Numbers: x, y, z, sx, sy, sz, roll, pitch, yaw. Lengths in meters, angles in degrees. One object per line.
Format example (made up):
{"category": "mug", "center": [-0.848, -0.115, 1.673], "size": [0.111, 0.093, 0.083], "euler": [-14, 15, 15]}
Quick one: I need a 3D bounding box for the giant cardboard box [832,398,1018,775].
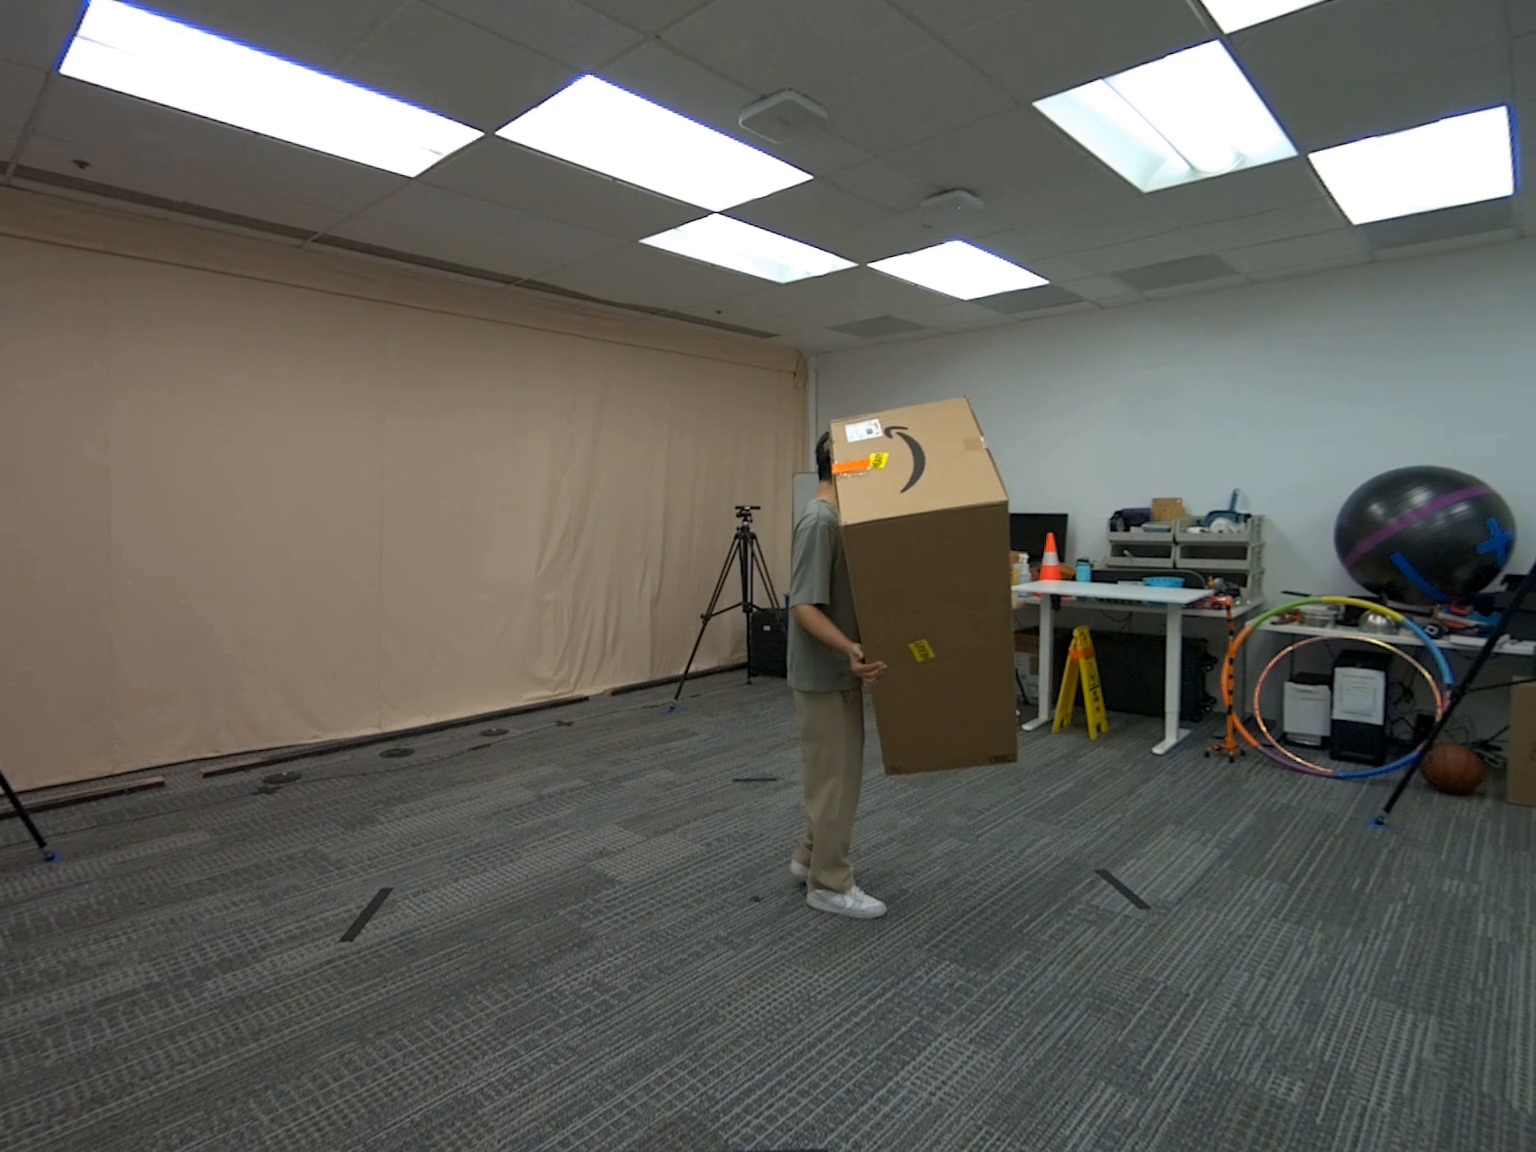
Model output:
{"category": "giant cardboard box", "center": [0.495, 0.058, 2.651], "size": [0.430, 1.000, 0.587], "euler": [-9, 36, 8]}
